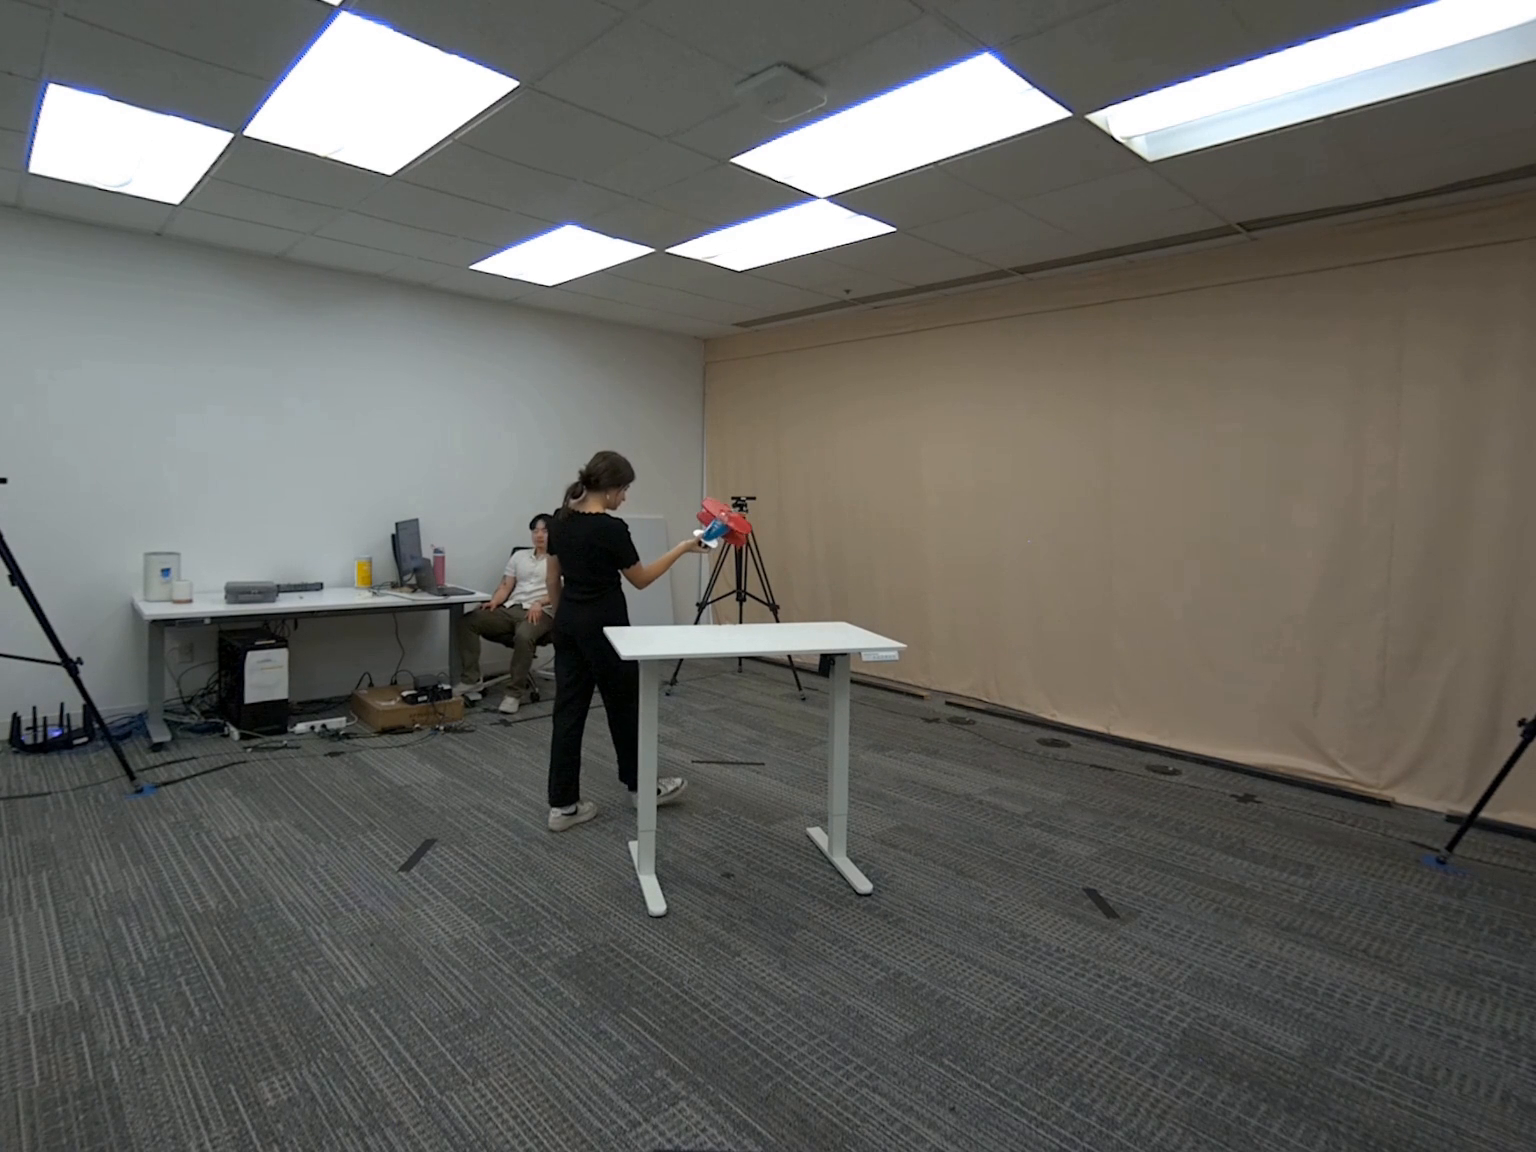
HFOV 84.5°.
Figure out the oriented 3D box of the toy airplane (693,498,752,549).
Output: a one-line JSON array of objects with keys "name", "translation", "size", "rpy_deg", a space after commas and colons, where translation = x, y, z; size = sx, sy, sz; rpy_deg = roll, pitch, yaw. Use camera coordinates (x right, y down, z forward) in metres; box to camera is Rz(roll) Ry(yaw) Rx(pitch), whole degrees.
[{"name": "toy airplane", "translation": [-0.208, -0.202, 3.705], "size": [0.247, 0.155, 0.265], "rpy_deg": [21, 28, -15]}]
